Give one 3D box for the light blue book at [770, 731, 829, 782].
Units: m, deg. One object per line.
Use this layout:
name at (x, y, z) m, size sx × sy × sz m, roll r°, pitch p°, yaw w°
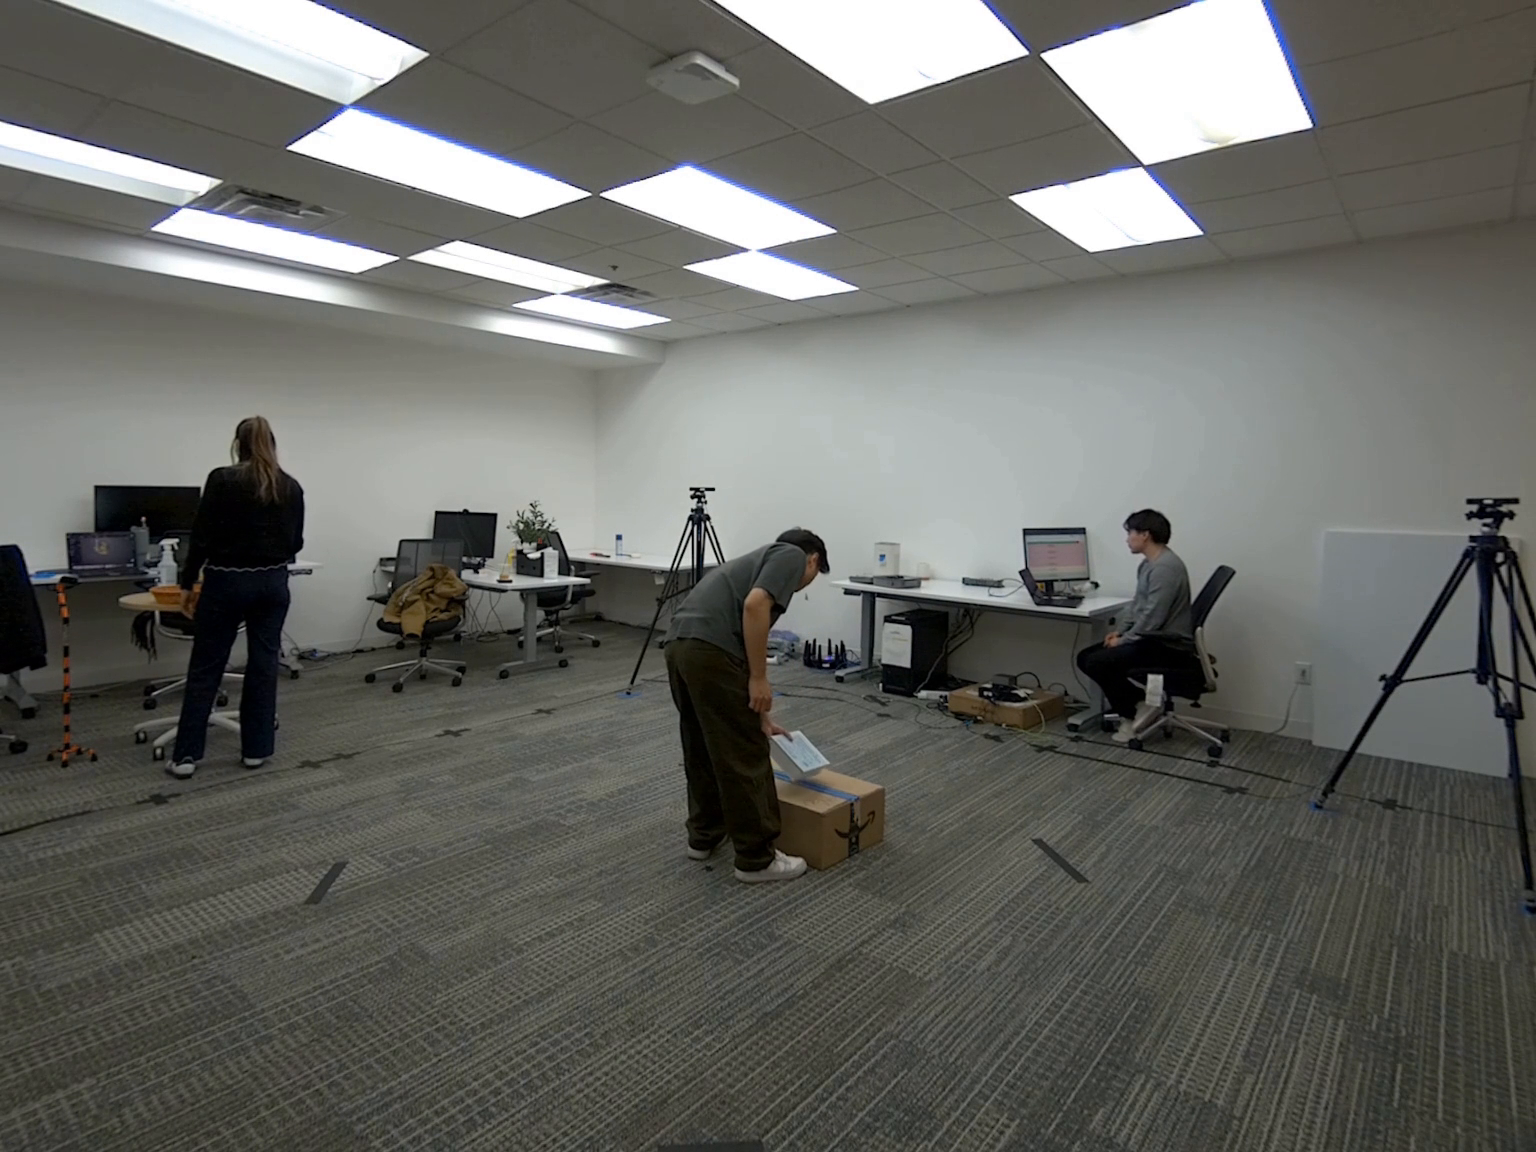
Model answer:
light blue book at (0.103, 0.712, 3.390) m, size 0.198 × 0.059 × 0.253 m, roll 44°, pitch 16°, yaw 25°
